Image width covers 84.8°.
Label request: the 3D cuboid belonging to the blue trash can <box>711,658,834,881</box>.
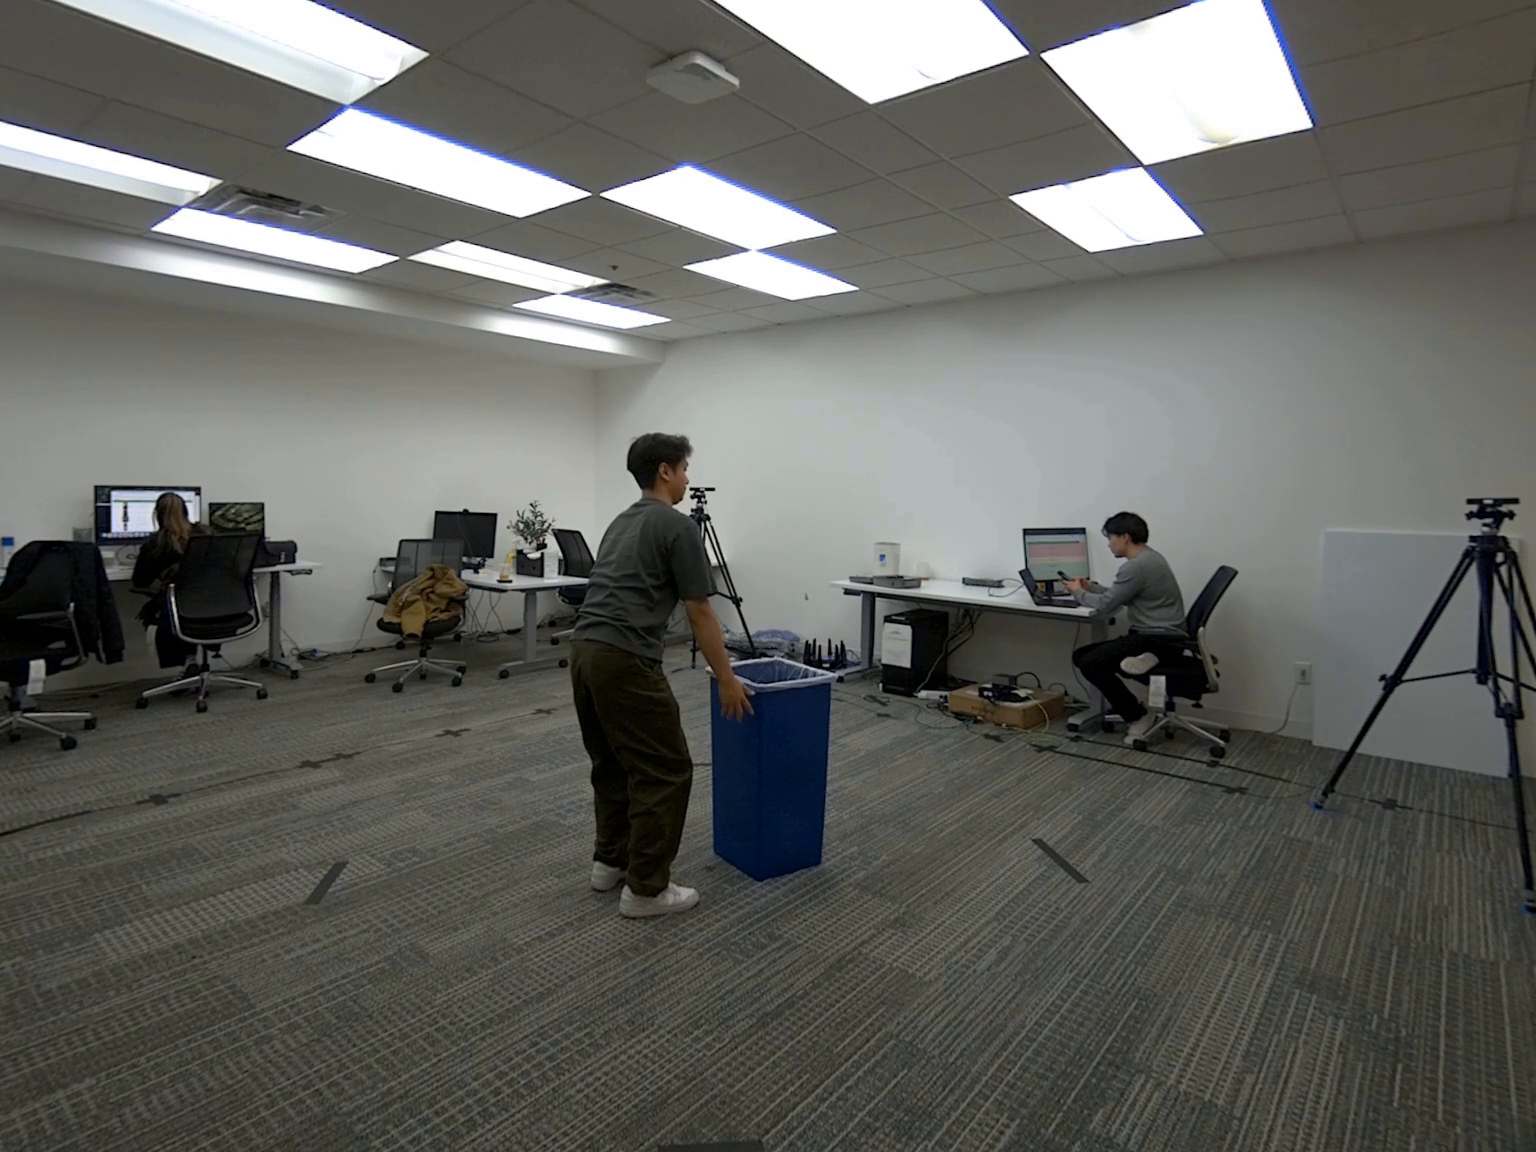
[{"bbox_3d":[-0.016,0.703,3.199,0.367,0.711,0.386,-2,5,-36],"label":"blue trash can"}]
